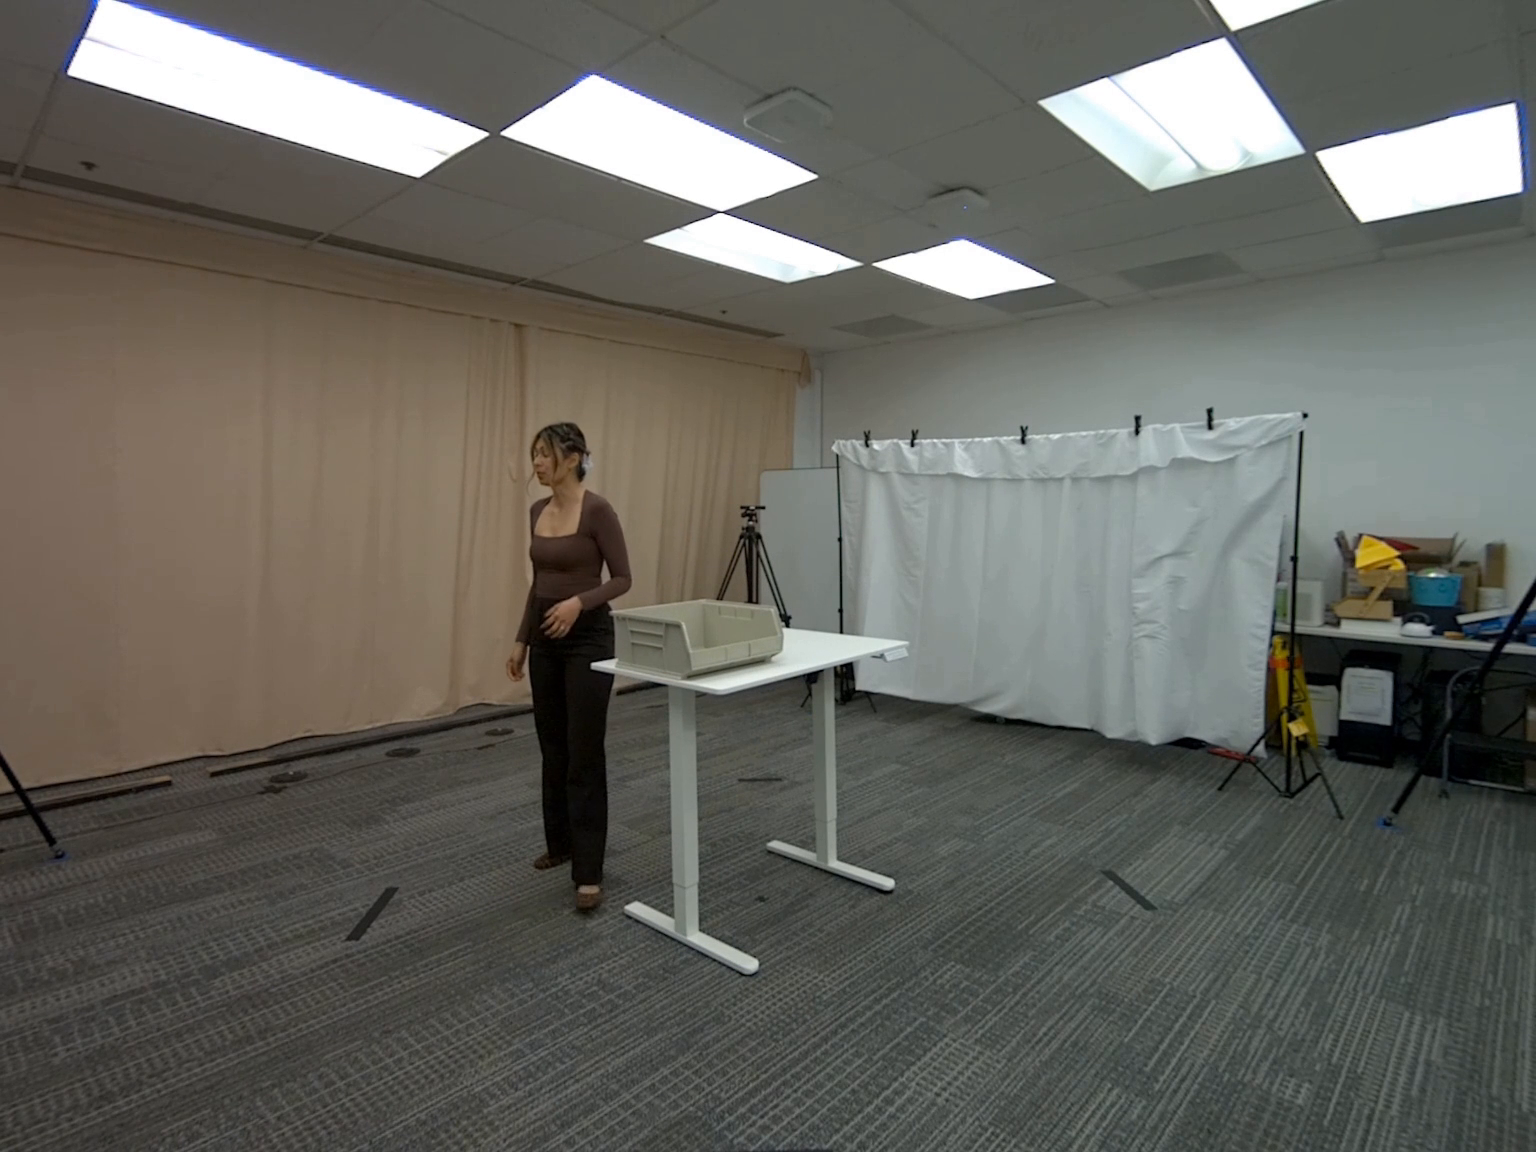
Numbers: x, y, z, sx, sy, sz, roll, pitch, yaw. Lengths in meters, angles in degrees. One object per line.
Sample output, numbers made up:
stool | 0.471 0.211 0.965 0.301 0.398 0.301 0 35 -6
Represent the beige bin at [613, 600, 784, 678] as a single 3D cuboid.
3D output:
beige bin | -0.223 0.201 2.713 0.390 0.188 0.410 2 6 43
